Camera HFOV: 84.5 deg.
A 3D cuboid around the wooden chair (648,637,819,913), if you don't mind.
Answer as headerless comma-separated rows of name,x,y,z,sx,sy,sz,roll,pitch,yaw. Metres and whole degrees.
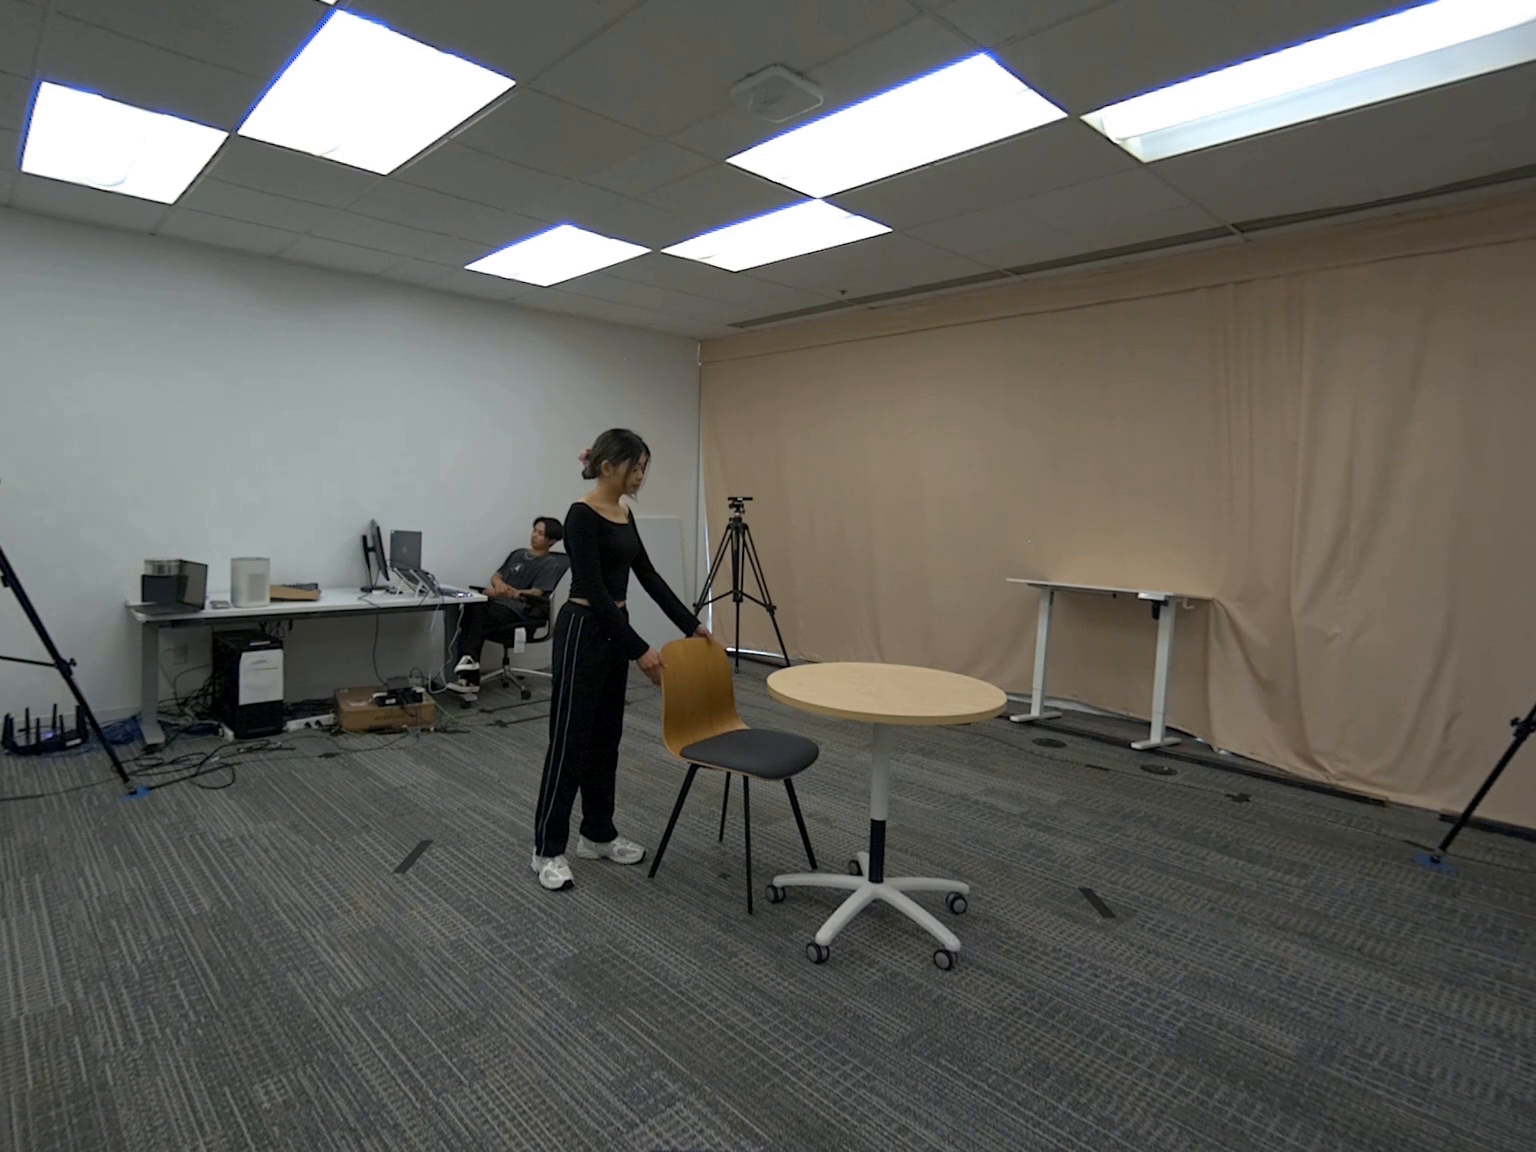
wooden chair,-0.116,0.680,3.094,0.535,0.877,0.468,-1,1,35
